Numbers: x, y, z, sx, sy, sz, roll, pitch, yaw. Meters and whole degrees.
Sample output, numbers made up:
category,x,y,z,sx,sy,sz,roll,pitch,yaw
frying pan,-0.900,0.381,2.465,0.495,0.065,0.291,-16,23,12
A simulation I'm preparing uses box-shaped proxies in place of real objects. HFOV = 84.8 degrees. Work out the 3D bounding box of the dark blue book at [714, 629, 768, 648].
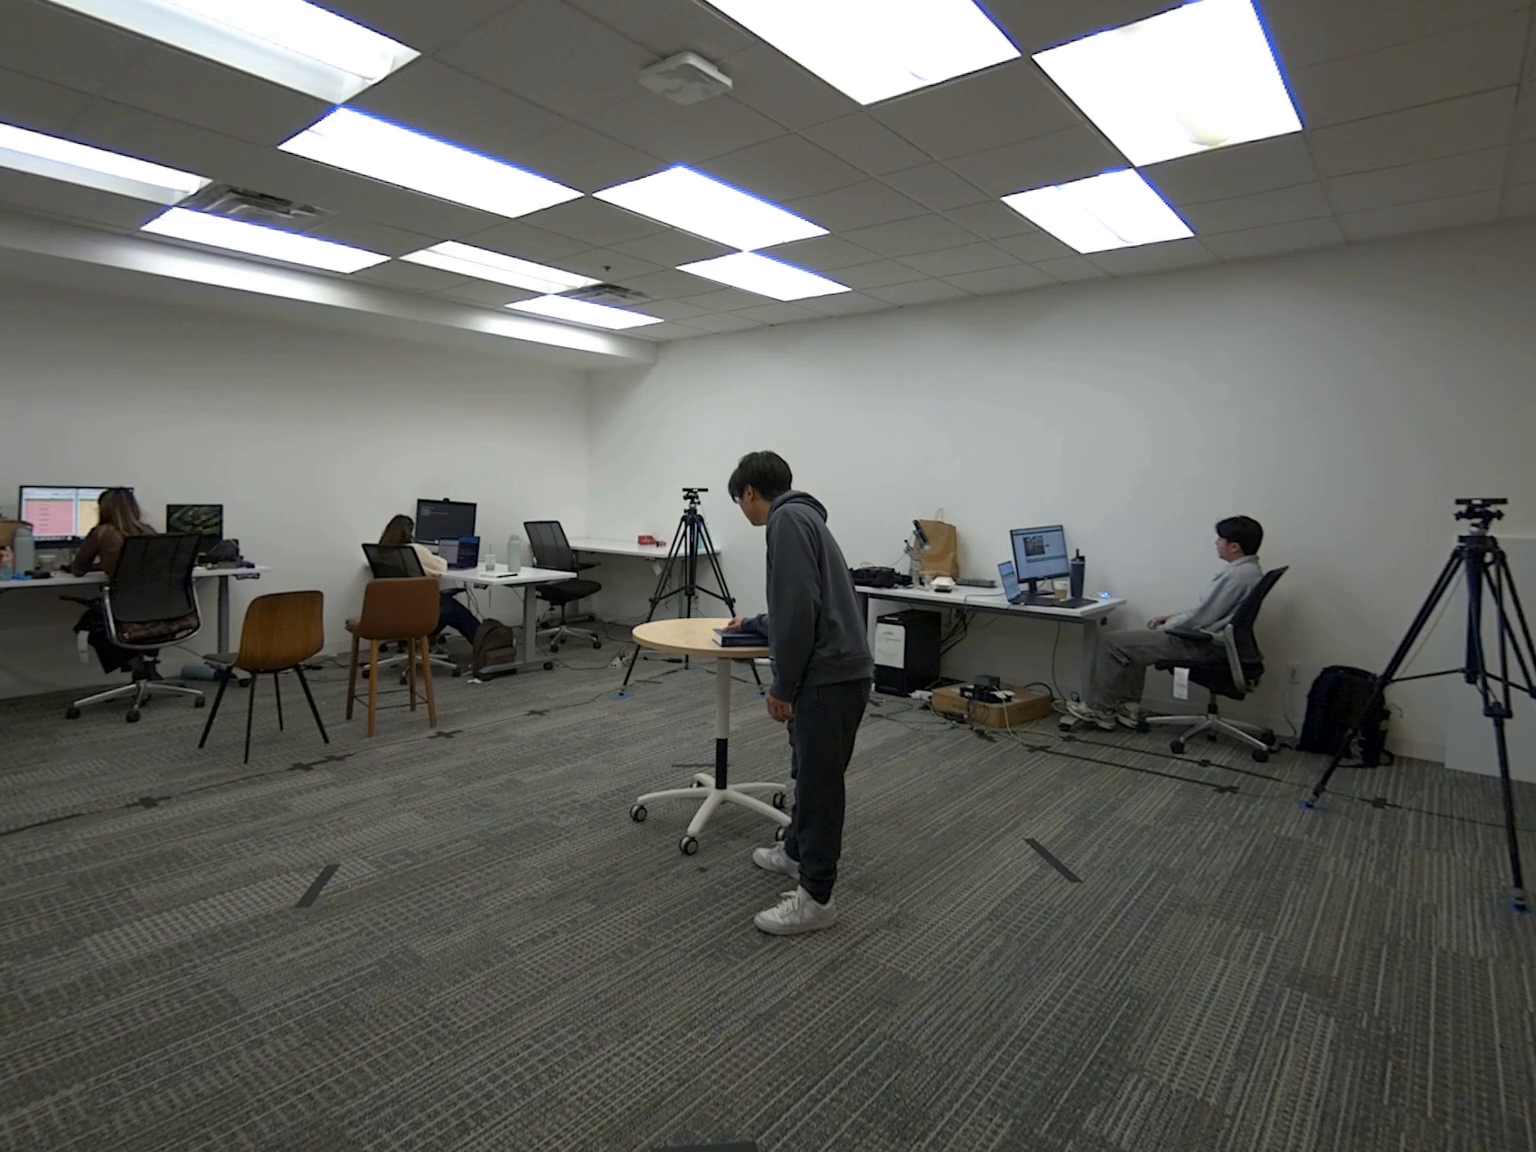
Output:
category,x,y,z,sx,sy,sz,roll,pitch,yaw
dark blue book,-0.096,0.235,3.315,0.241,0.045,0.166,1,6,-14
